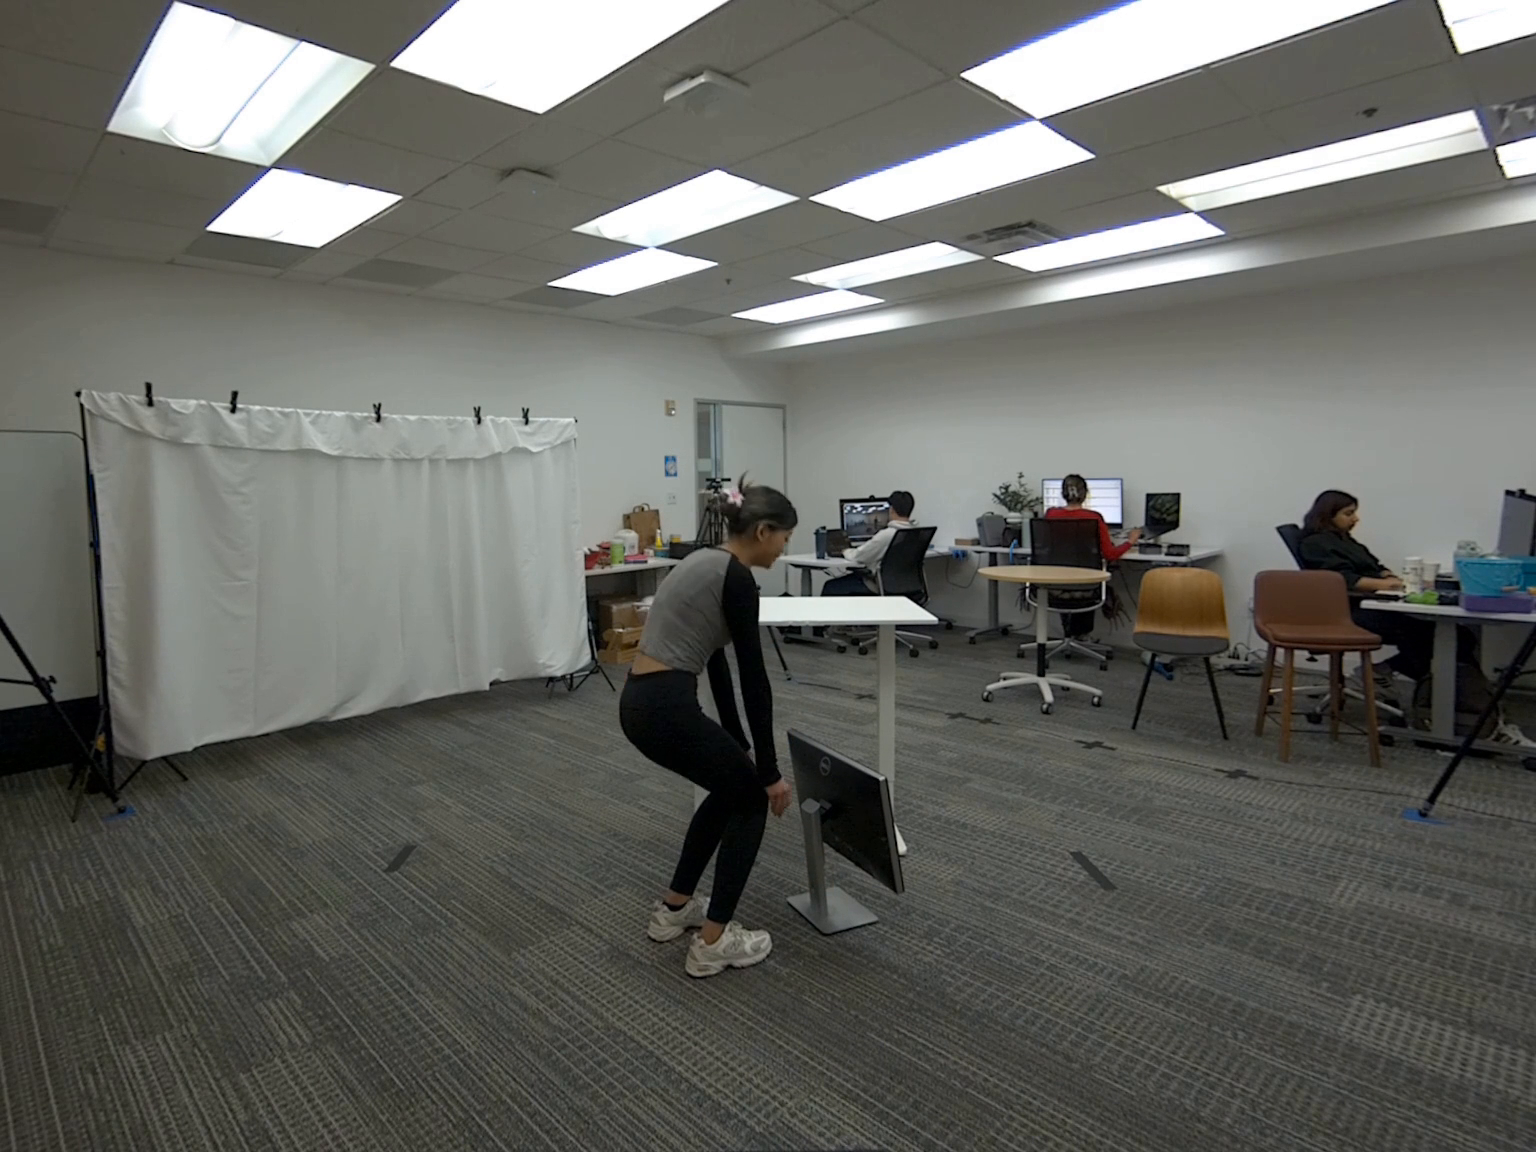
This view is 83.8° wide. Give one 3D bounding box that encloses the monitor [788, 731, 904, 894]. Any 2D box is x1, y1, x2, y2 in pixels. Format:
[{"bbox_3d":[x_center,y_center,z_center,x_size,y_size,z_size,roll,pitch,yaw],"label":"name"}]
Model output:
[{"bbox_3d":[0.209,0.827,2.722,0.182,0.521,0.554,0,4,-29],"label":"monitor"}]
